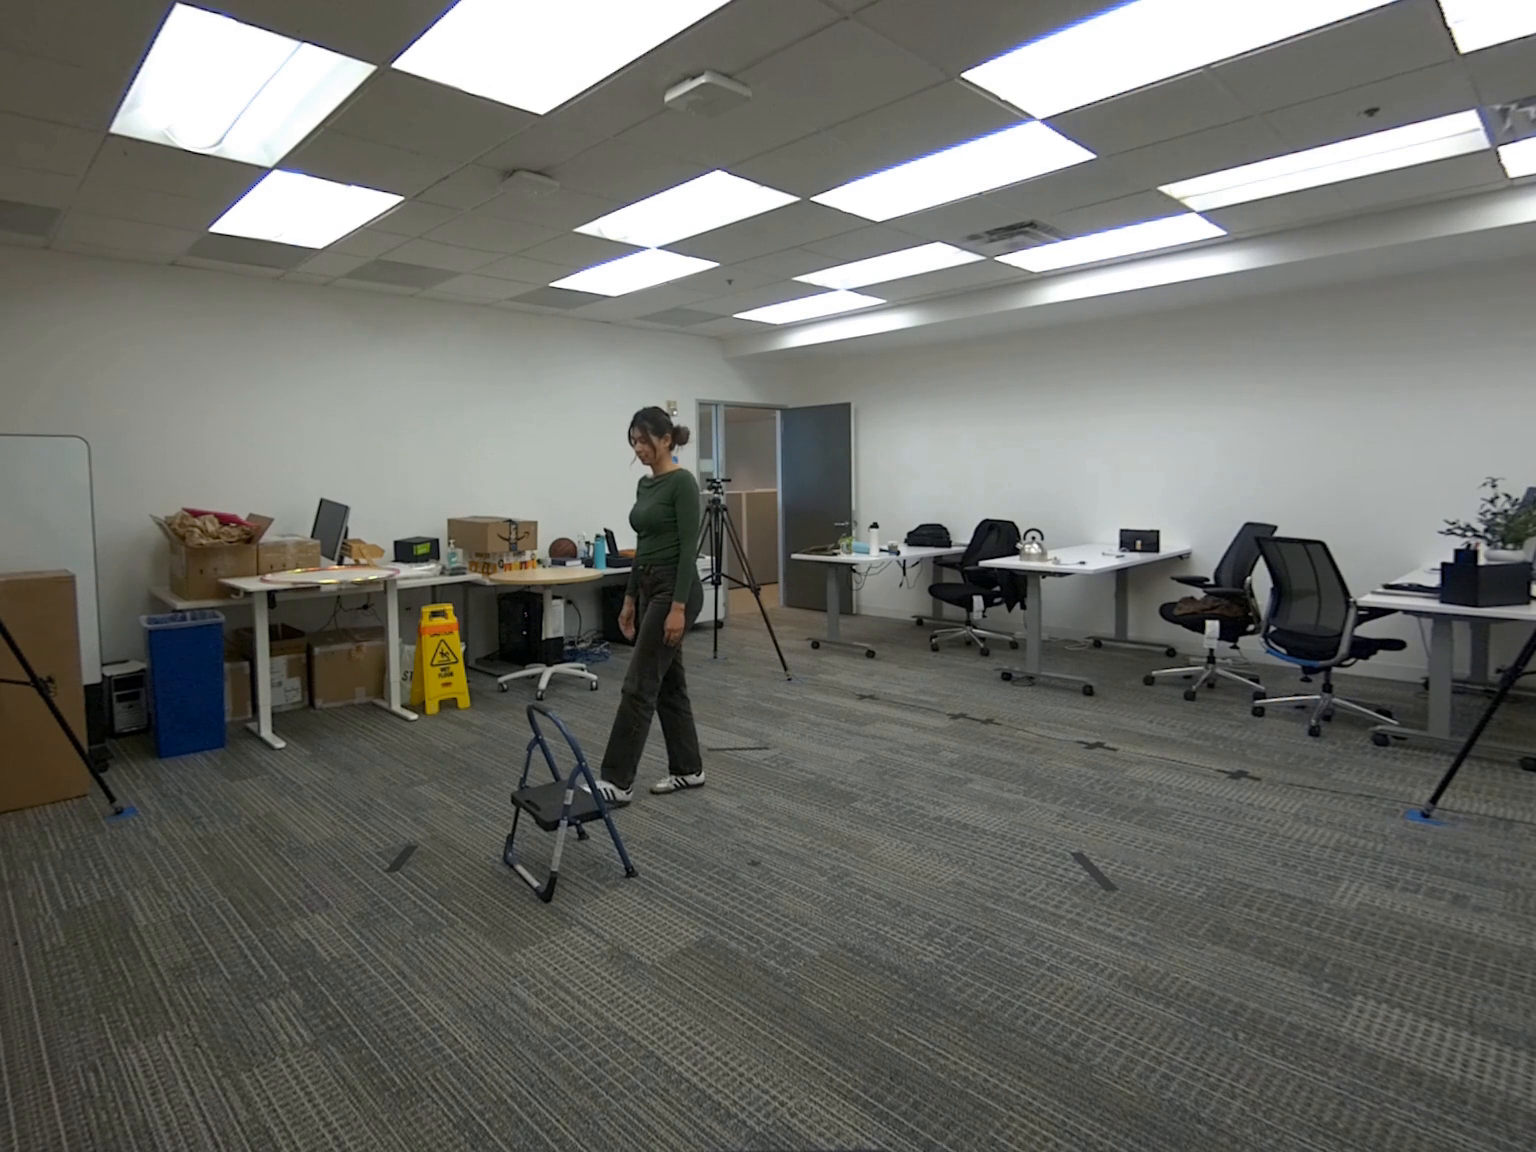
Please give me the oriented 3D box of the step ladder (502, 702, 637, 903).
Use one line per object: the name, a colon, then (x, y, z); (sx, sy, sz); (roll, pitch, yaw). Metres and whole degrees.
step ladder: (-0.736, 0.759, 3.079); (0.340, 0.604, 0.443); (-4, 5, -36)
